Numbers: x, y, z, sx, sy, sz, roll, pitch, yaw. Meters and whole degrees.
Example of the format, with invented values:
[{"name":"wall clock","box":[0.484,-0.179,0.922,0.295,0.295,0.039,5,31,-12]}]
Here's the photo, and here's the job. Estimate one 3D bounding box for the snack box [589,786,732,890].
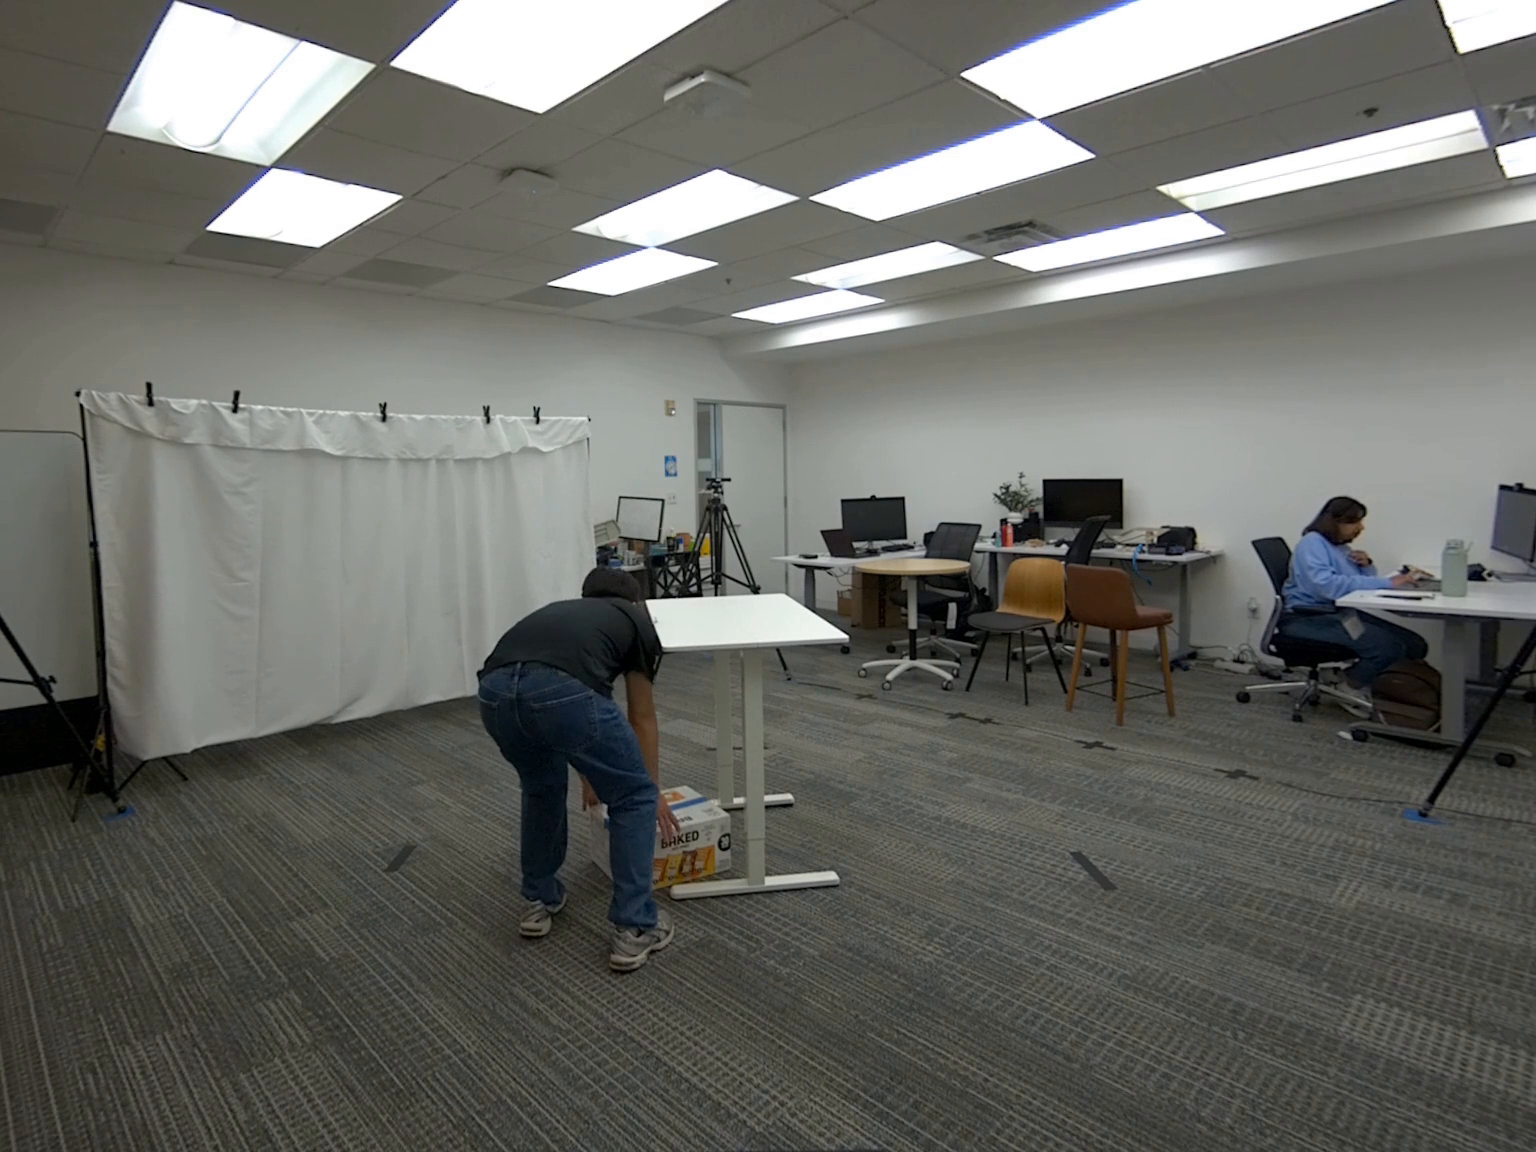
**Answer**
[{"name":"snack box","box":[-0.388,0.949,3.093,0.395,0.205,0.350,-4,7,-31]}]
